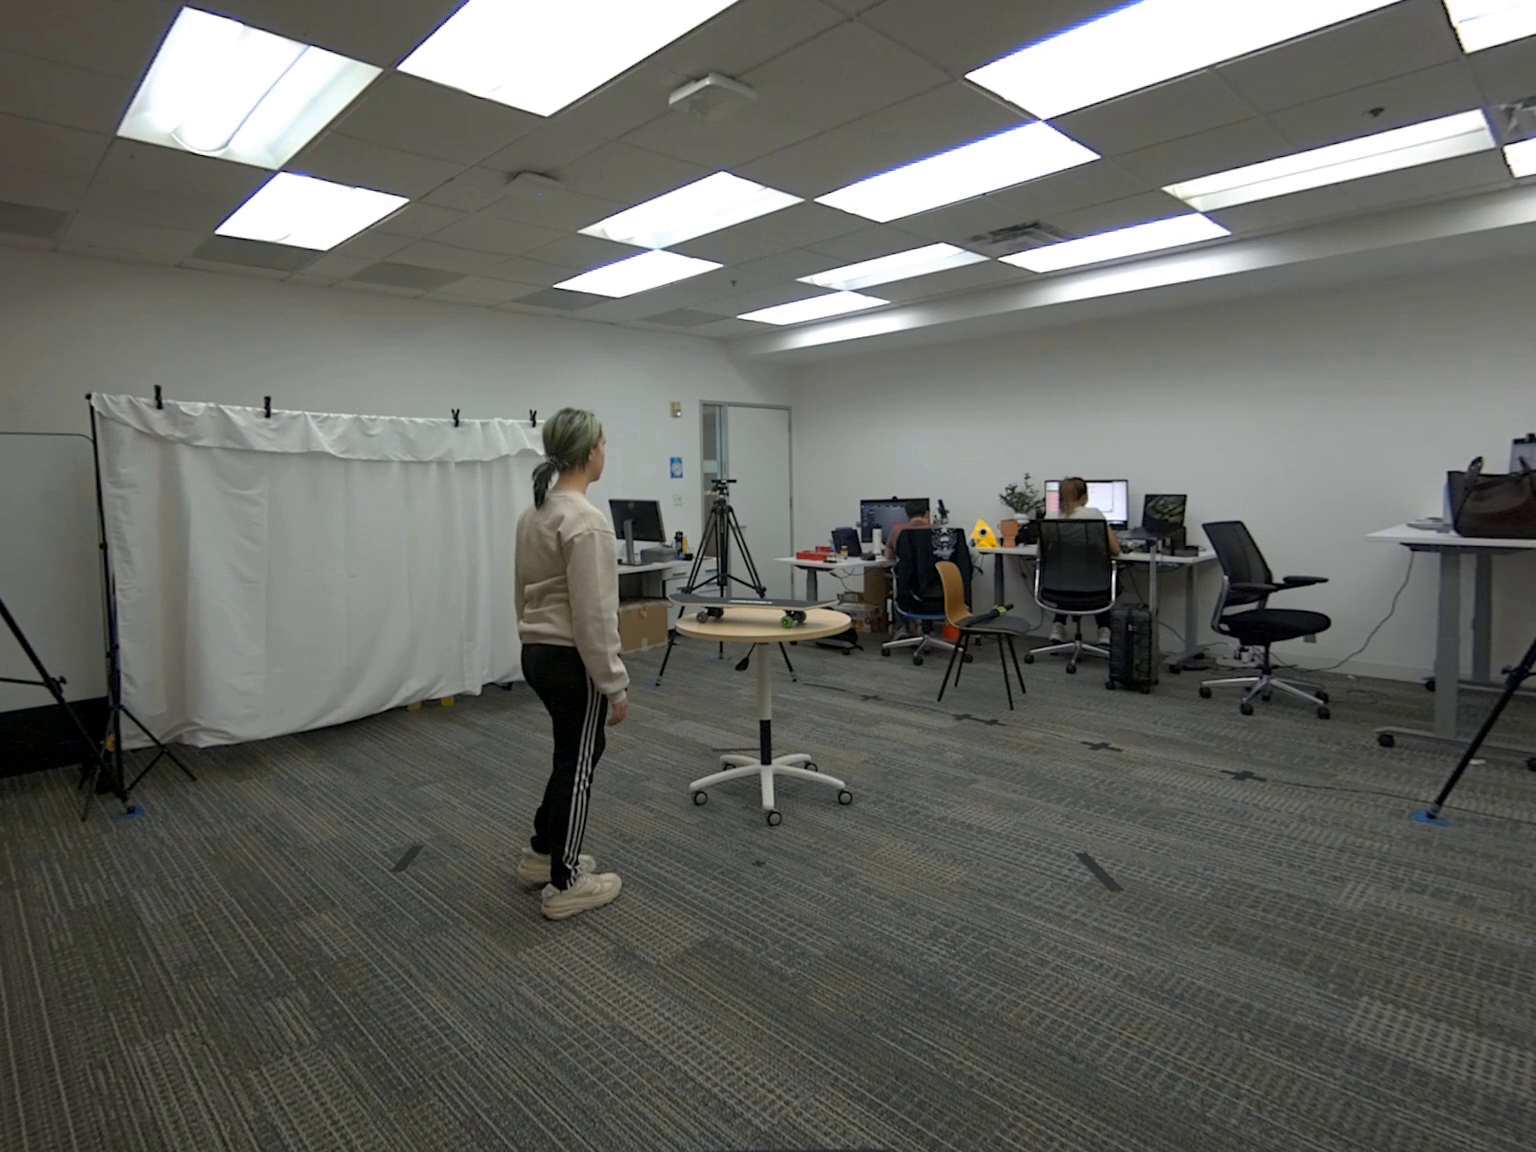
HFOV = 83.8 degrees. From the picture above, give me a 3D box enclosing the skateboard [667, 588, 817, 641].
[{"bbox_3d":[-0.069,0.152,3.685,0.805,0.110,0.189,1,5,27],"label":"skateboard"}]
